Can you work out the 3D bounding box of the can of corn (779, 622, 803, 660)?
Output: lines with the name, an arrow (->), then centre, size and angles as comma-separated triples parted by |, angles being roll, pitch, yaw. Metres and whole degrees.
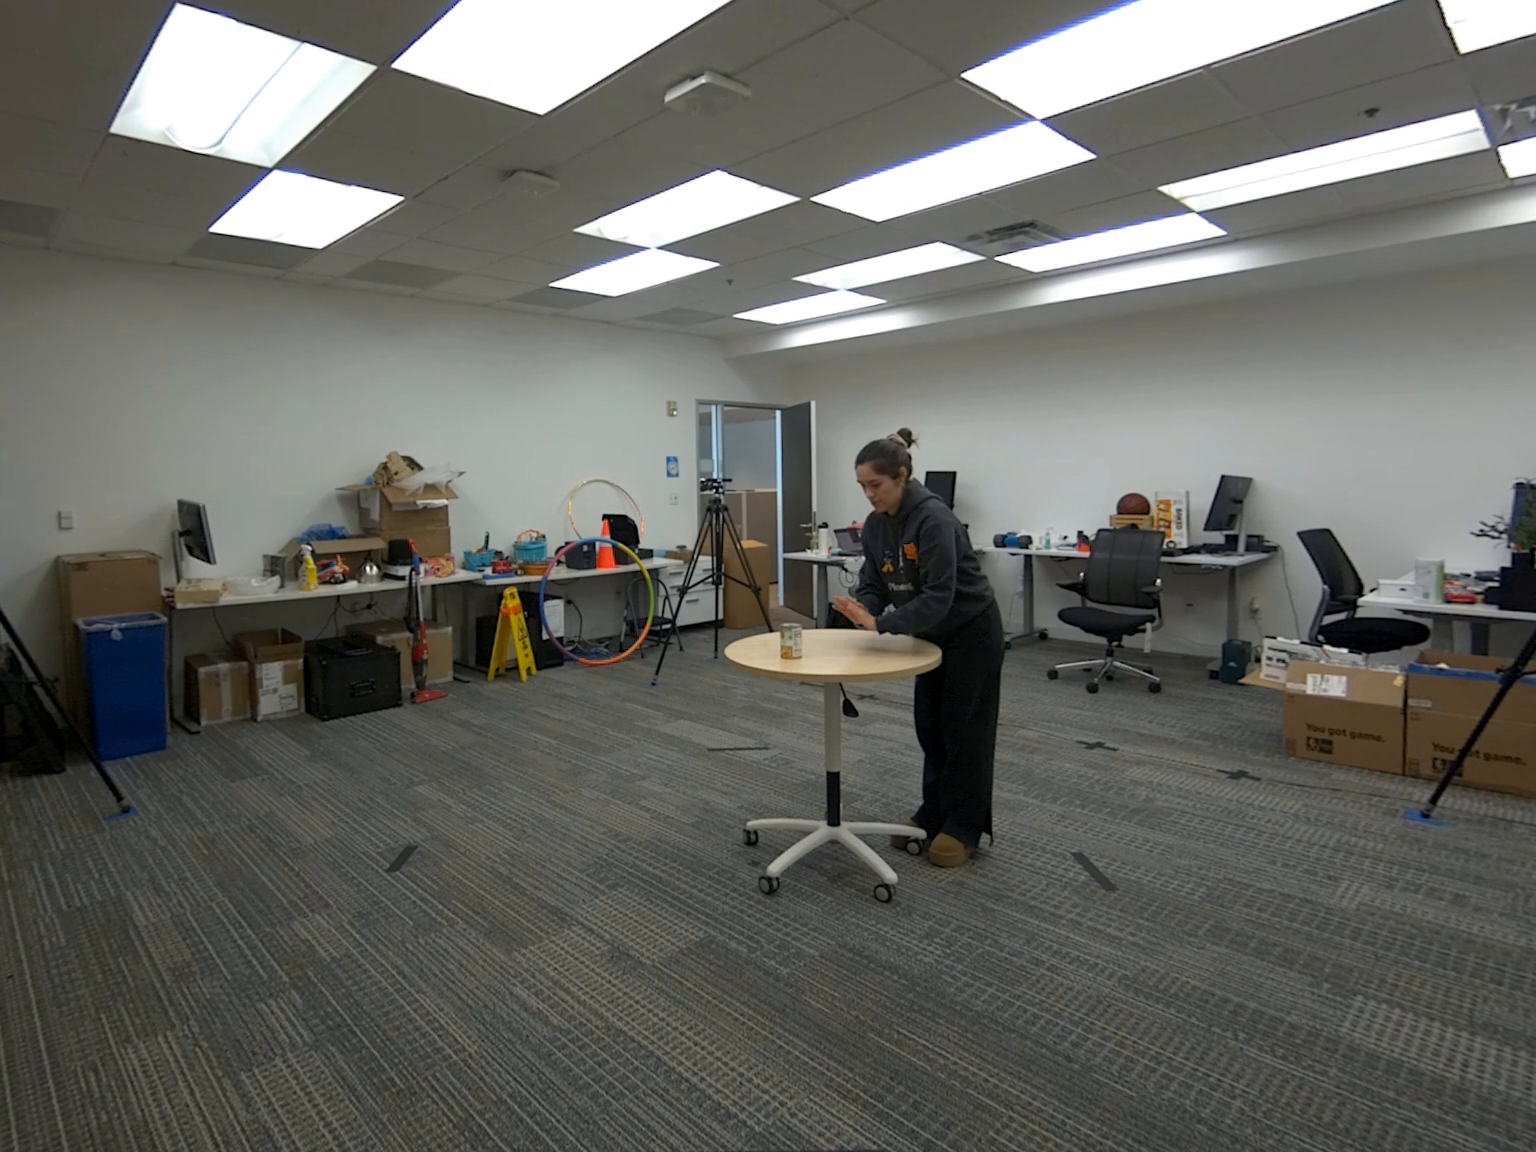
can of corn -> 0.084, 0.221, 2.931 | 0.074, 0.110, 0.074 | -1, 5, -2
